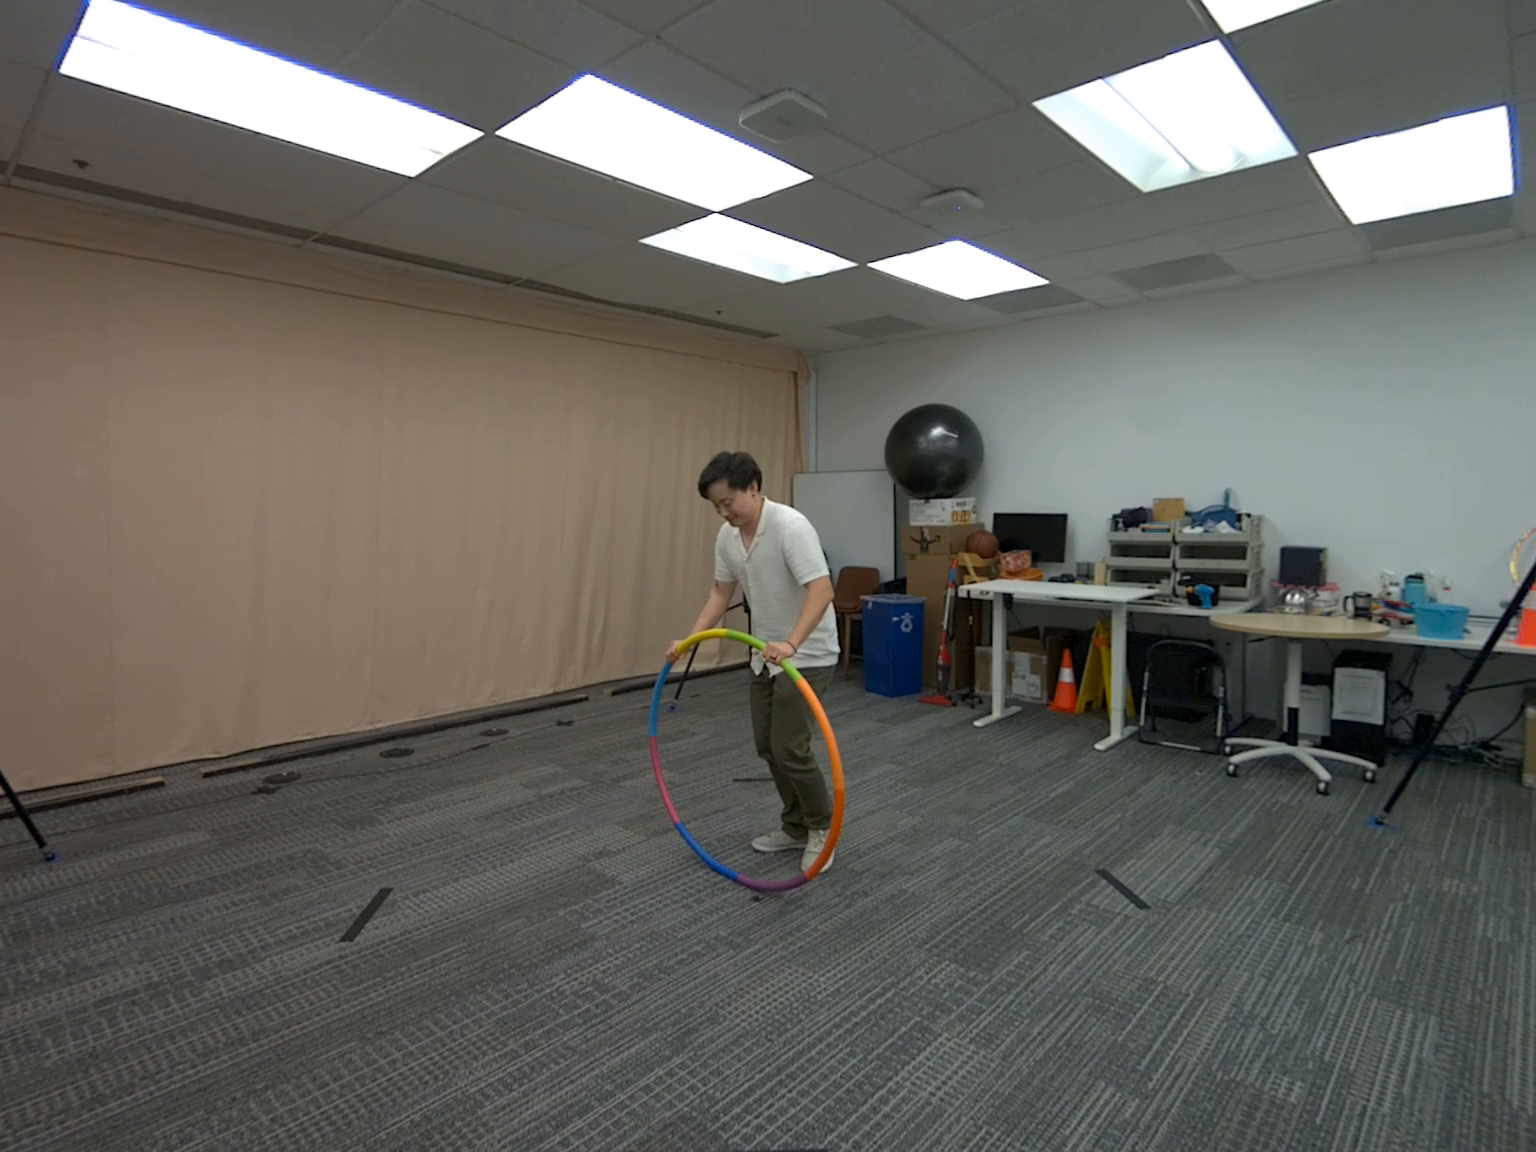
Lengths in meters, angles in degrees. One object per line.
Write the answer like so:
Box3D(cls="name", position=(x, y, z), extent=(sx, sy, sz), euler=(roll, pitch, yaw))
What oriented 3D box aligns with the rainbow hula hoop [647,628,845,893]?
Box3D(cls="rainbow hula hoop", position=(-0.116, 0.669, 3.096), extent=(0.034, 0.976, 1.011), euler=(-5, 6, -44))
